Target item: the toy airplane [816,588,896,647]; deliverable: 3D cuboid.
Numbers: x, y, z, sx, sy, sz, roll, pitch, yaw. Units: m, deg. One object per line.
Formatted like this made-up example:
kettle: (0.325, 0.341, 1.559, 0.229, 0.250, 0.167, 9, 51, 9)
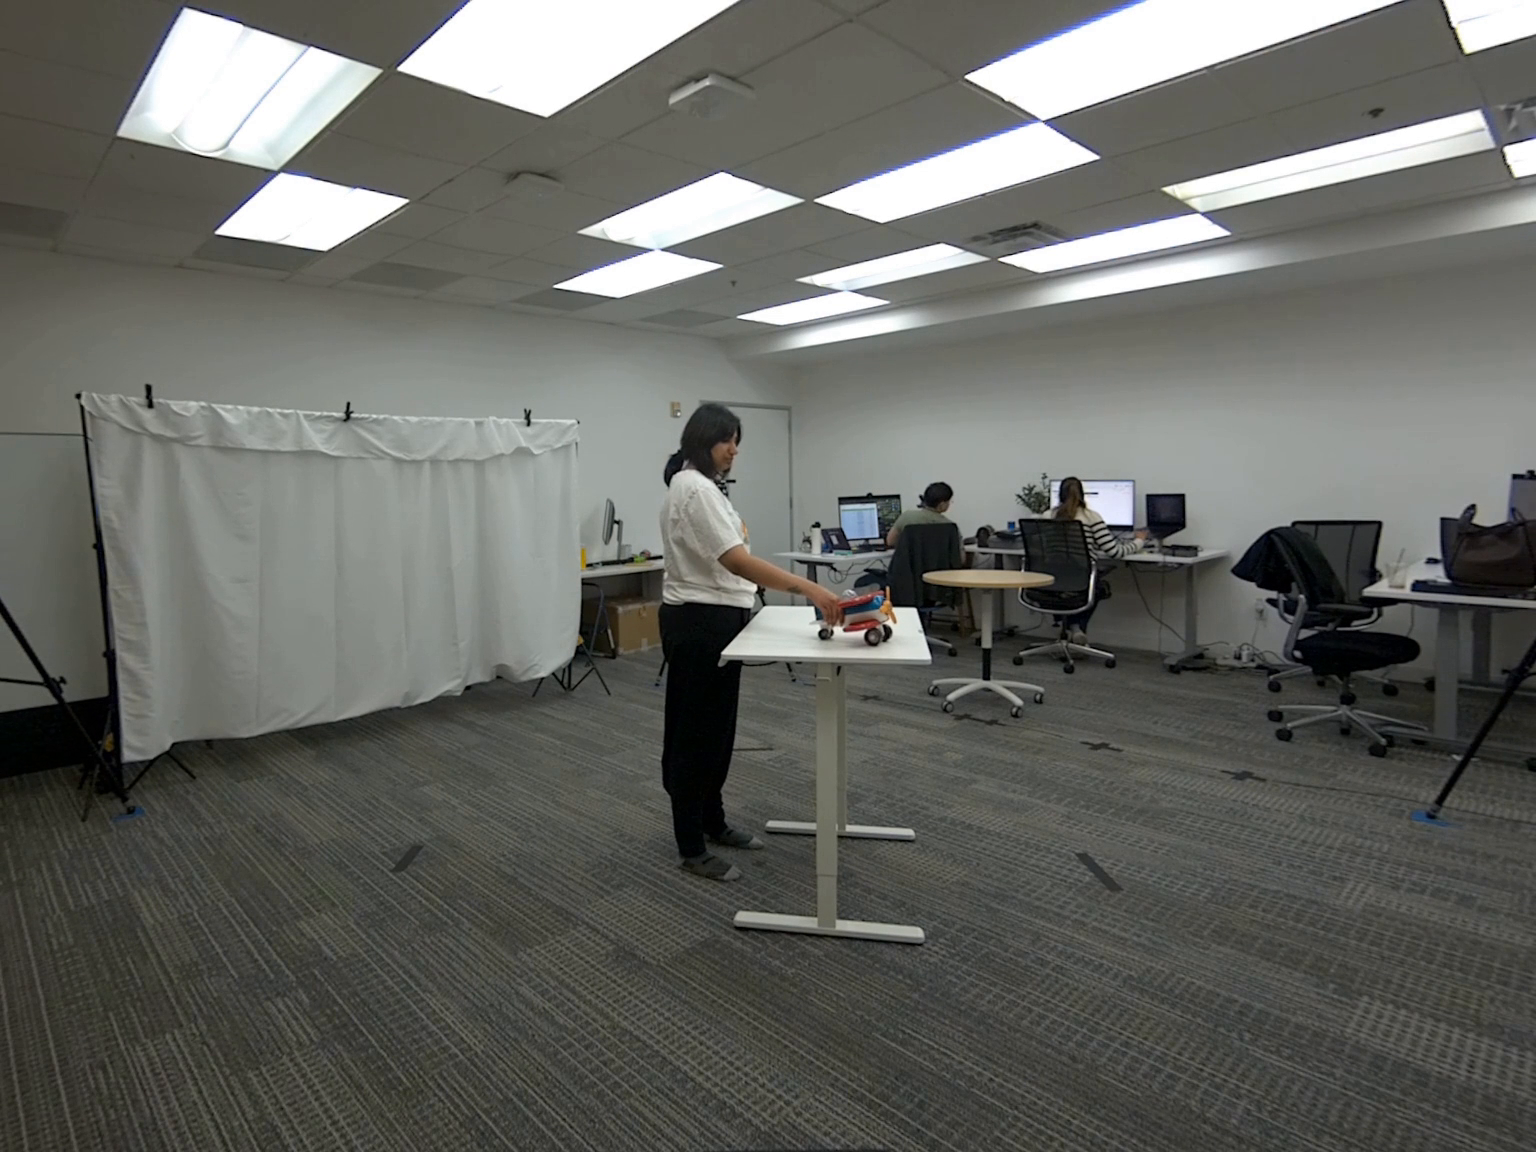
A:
toy airplane: (0.263, 0.132, 2.656, 0.260, 0.156, 0.252, 1, 5, 1)
